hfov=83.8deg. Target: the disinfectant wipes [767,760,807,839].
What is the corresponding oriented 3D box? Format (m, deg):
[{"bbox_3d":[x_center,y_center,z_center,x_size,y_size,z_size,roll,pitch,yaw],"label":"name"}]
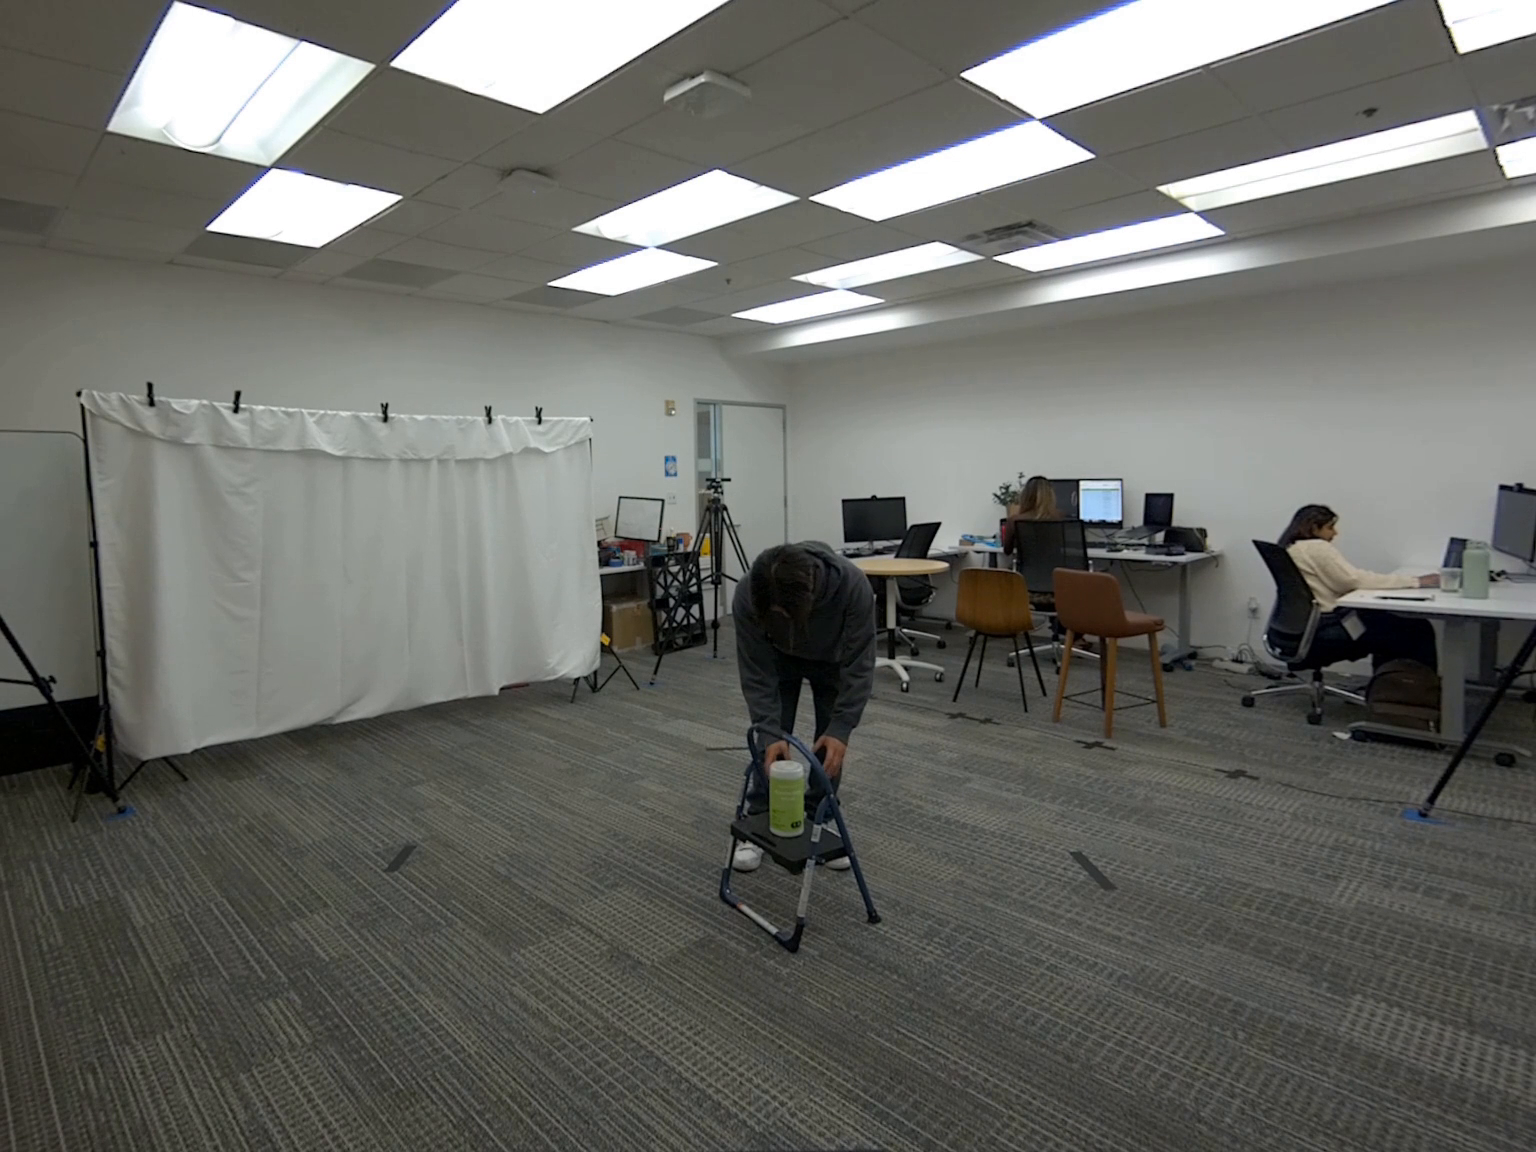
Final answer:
[{"bbox_3d":[0.066,0.718,2.740,0.118,0.216,0.118,-1,5,-2],"label":"disinfectant wipes"}]
